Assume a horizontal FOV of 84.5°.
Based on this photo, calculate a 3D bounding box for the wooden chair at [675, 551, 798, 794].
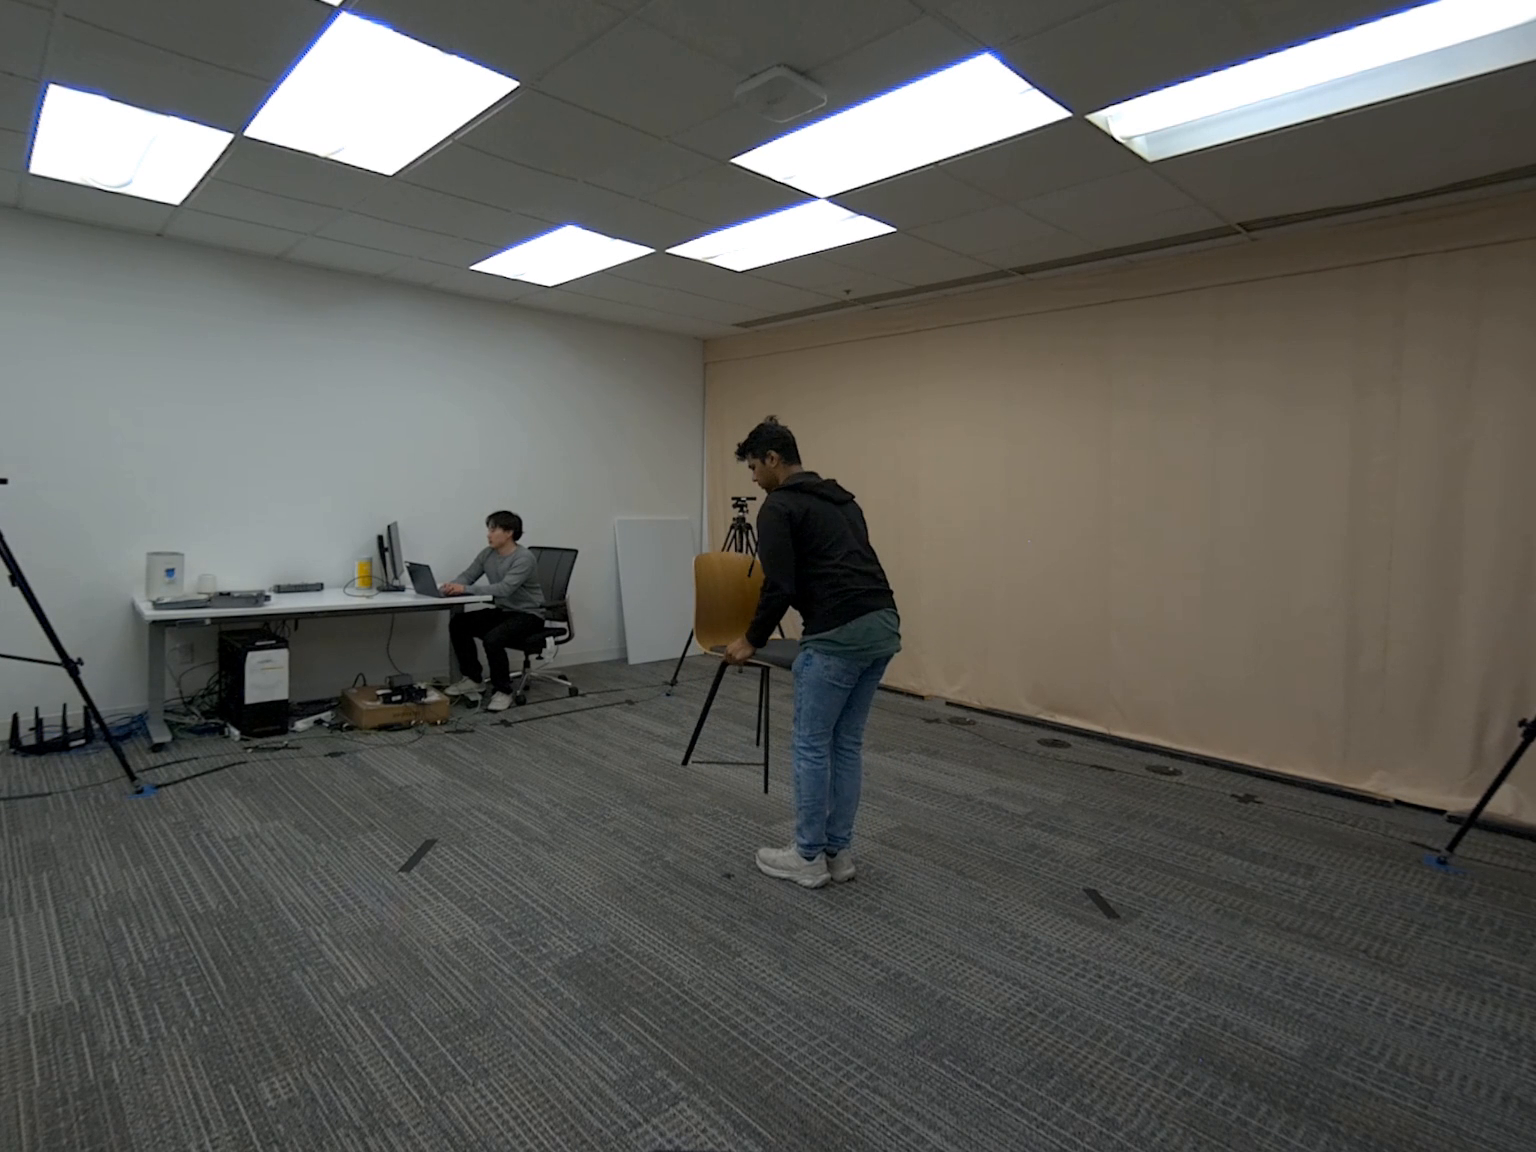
[{"bbox_3d":[-0.018,0.347,3.304,0.535,0.878,0.467,-2,-1,43],"label":"wooden chair"}]
